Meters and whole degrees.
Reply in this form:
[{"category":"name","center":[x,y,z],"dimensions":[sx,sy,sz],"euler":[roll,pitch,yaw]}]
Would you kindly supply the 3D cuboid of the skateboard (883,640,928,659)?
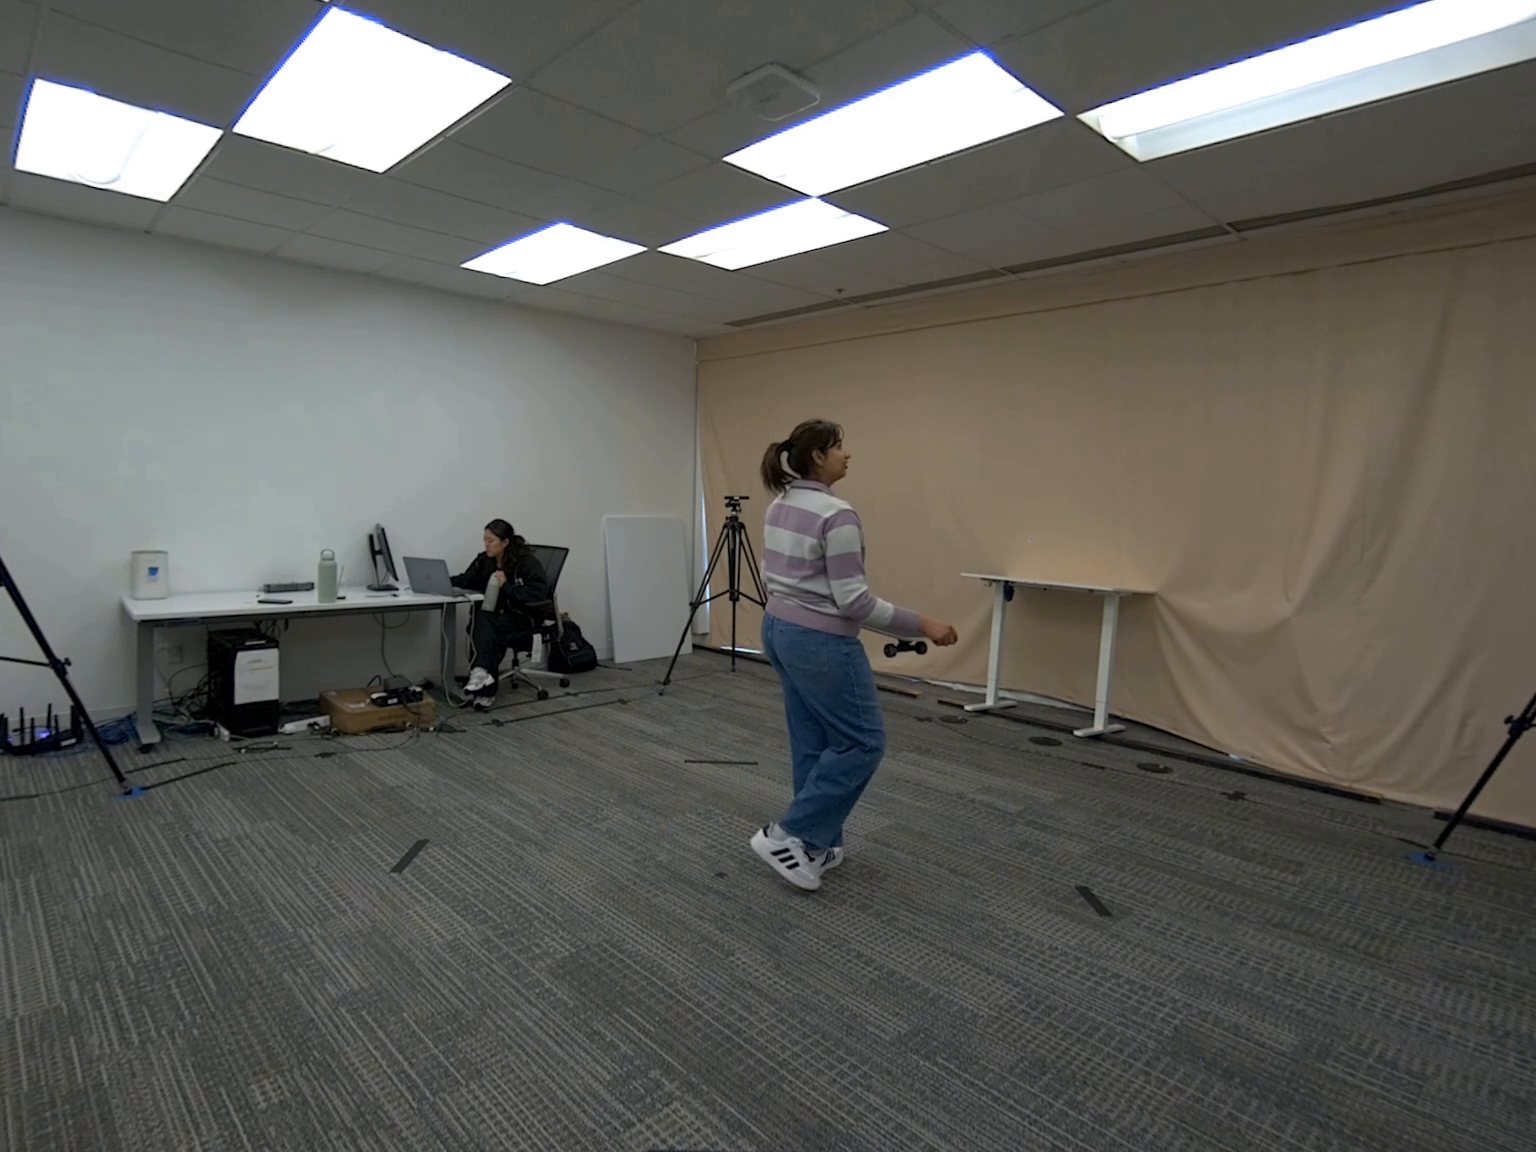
[{"category":"skateboard","center":[0.384,0.206,3.213],"dimensions":[0.189,0.110,0.805],"euler":[2,6,-35]}]
